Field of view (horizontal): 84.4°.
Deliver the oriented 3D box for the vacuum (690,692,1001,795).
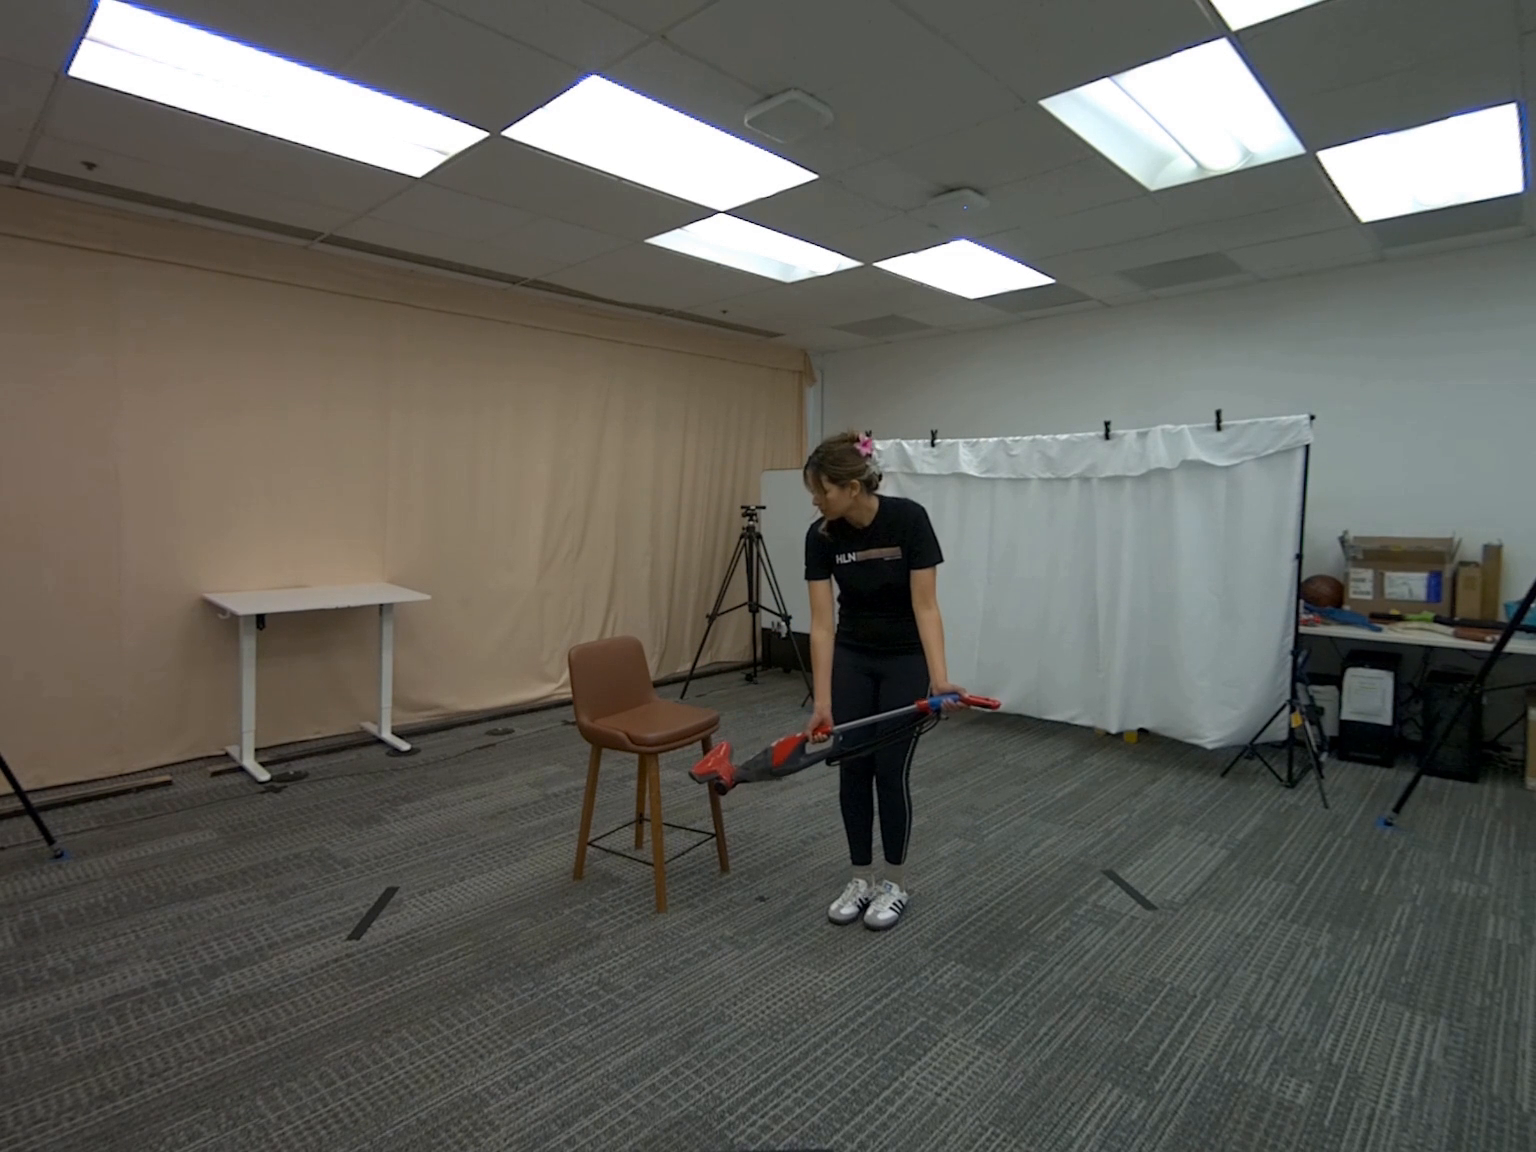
[{"bbox_3d":[0.243,0.537,2.687,1.071,0.145,0.245,-22,-12,34],"label":"vacuum"}]
